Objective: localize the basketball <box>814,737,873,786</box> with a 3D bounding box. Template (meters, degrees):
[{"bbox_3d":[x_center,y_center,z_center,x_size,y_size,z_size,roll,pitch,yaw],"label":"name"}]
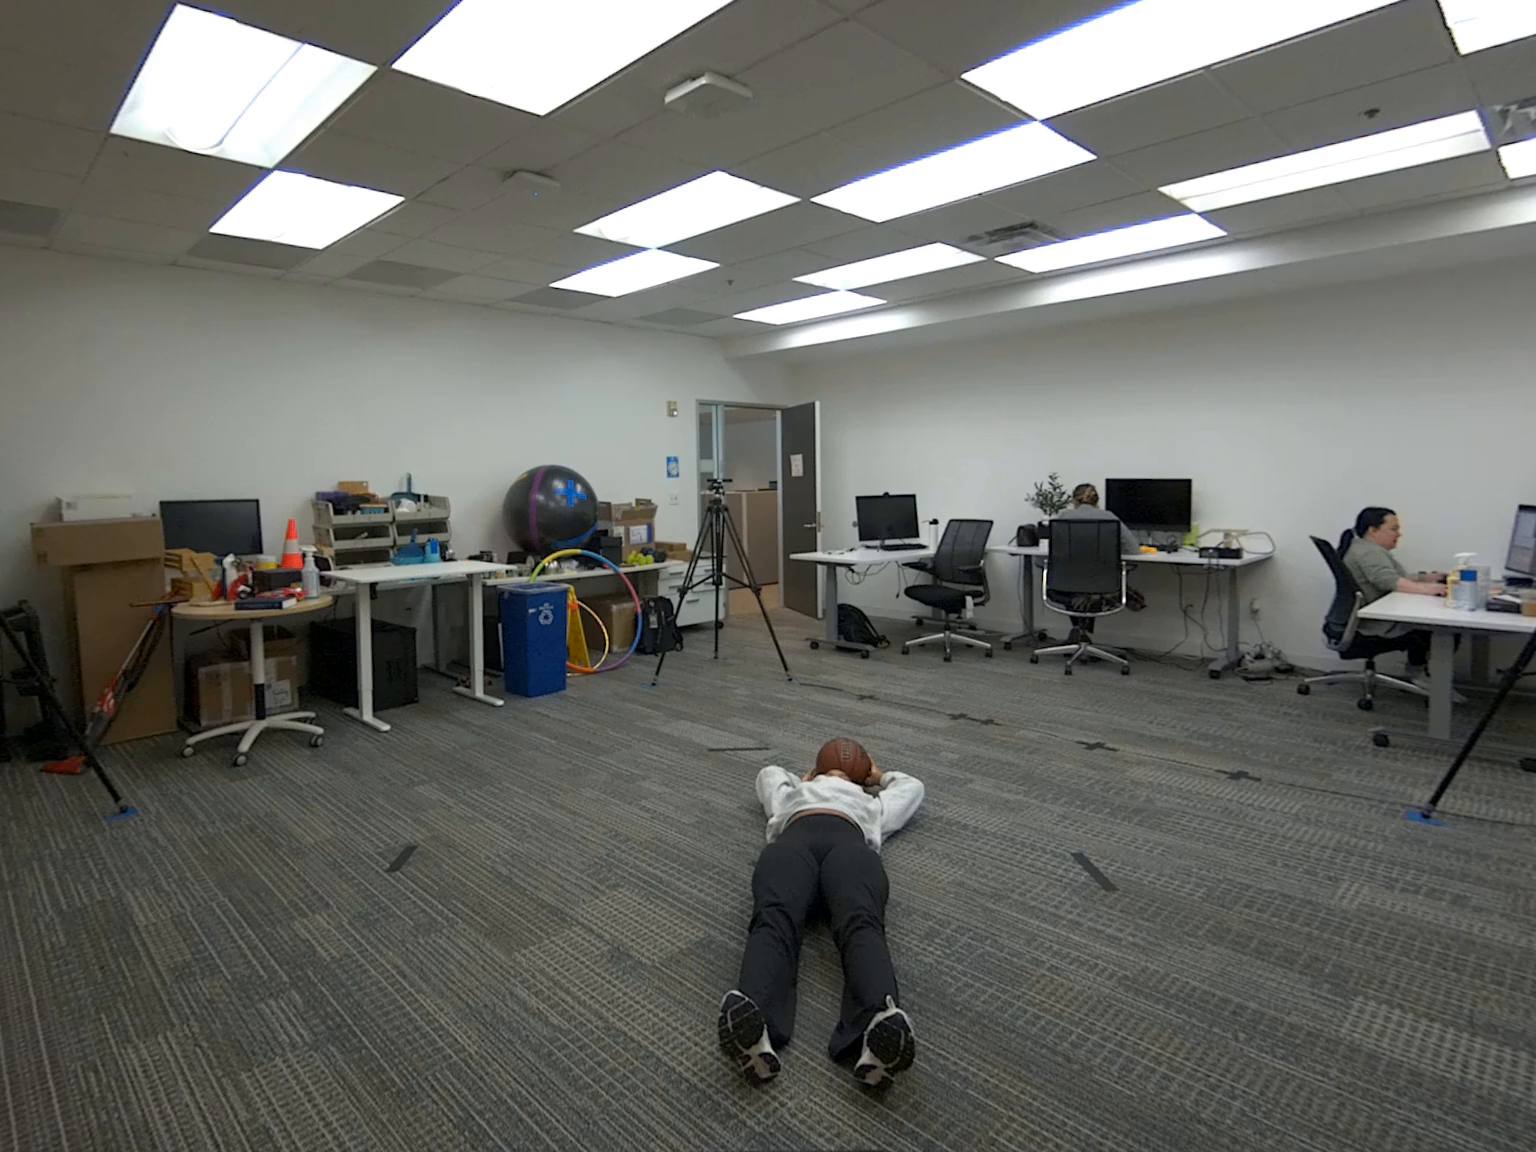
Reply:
[{"bbox_3d":[0.340,0.839,3.799,0.236,0.235,0.237,-1,4,-2],"label":"basketball"}]
